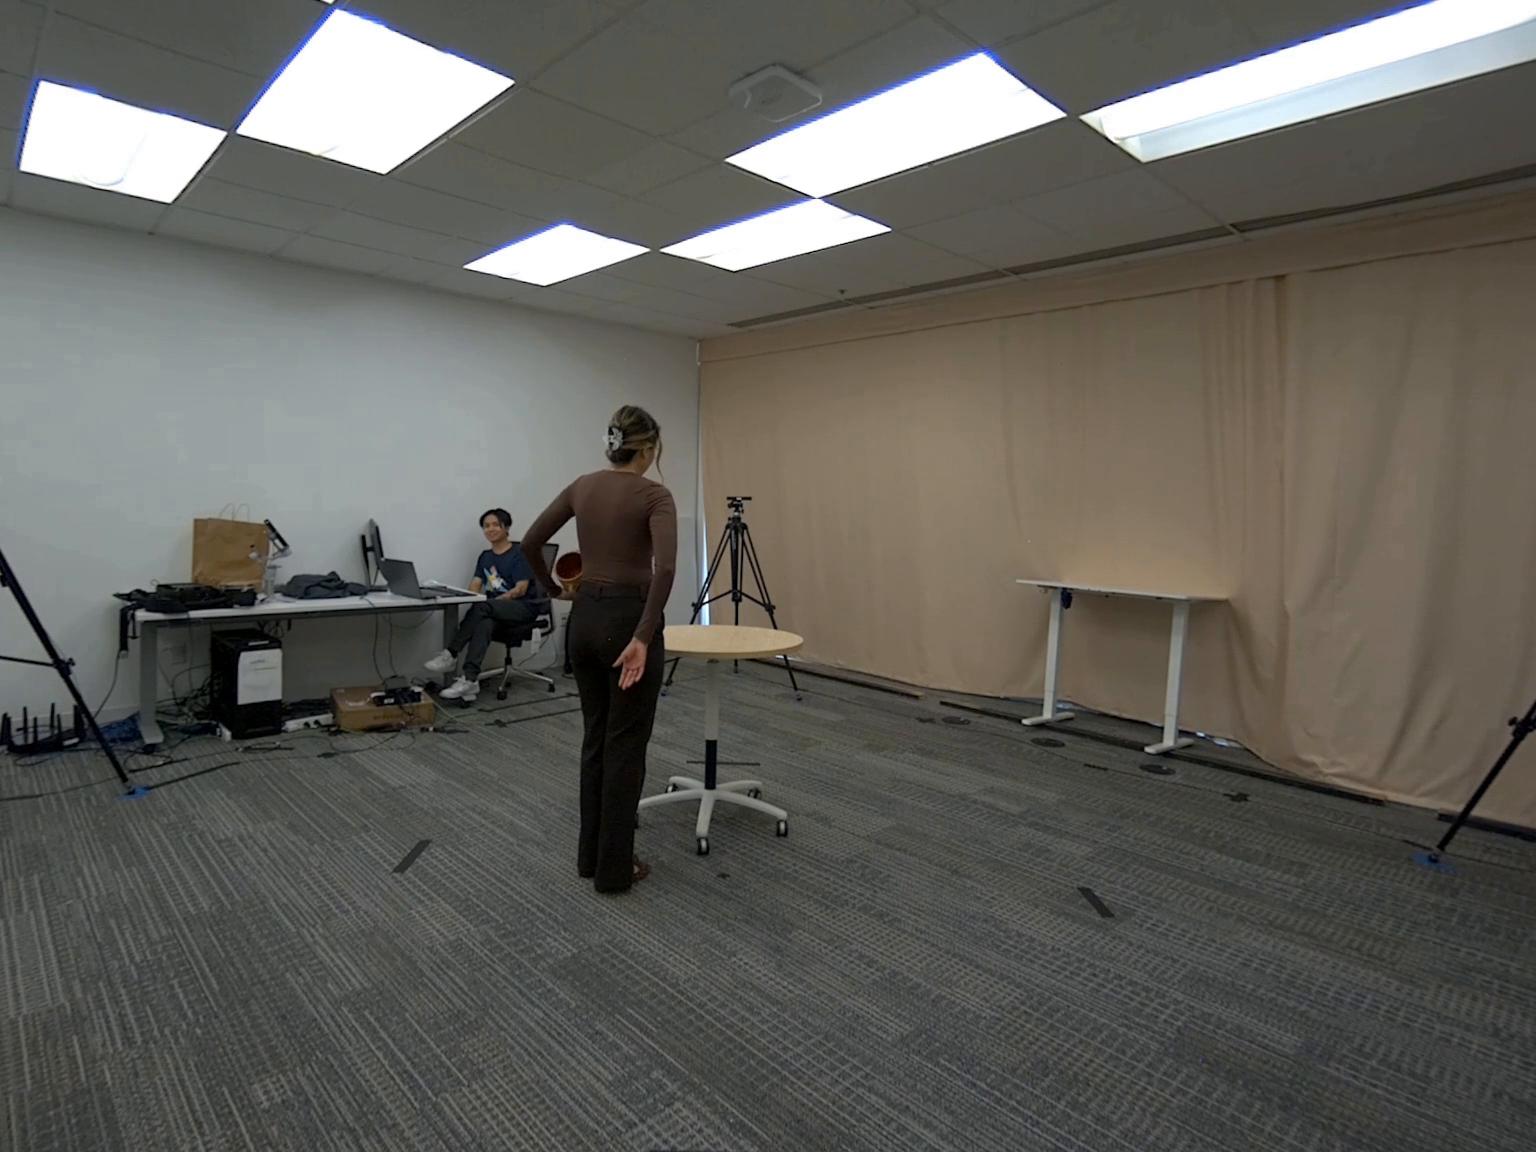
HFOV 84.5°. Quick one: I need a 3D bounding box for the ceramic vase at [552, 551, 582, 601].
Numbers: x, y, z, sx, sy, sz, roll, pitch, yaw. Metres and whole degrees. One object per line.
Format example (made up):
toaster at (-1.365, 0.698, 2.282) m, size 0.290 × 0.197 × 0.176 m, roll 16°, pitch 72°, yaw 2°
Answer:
ceramic vase at (-0.752, 0.014, 3.244) m, size 0.137 × 0.159 × 0.215 m, roll 34°, pitch -24°, yaw 19°
